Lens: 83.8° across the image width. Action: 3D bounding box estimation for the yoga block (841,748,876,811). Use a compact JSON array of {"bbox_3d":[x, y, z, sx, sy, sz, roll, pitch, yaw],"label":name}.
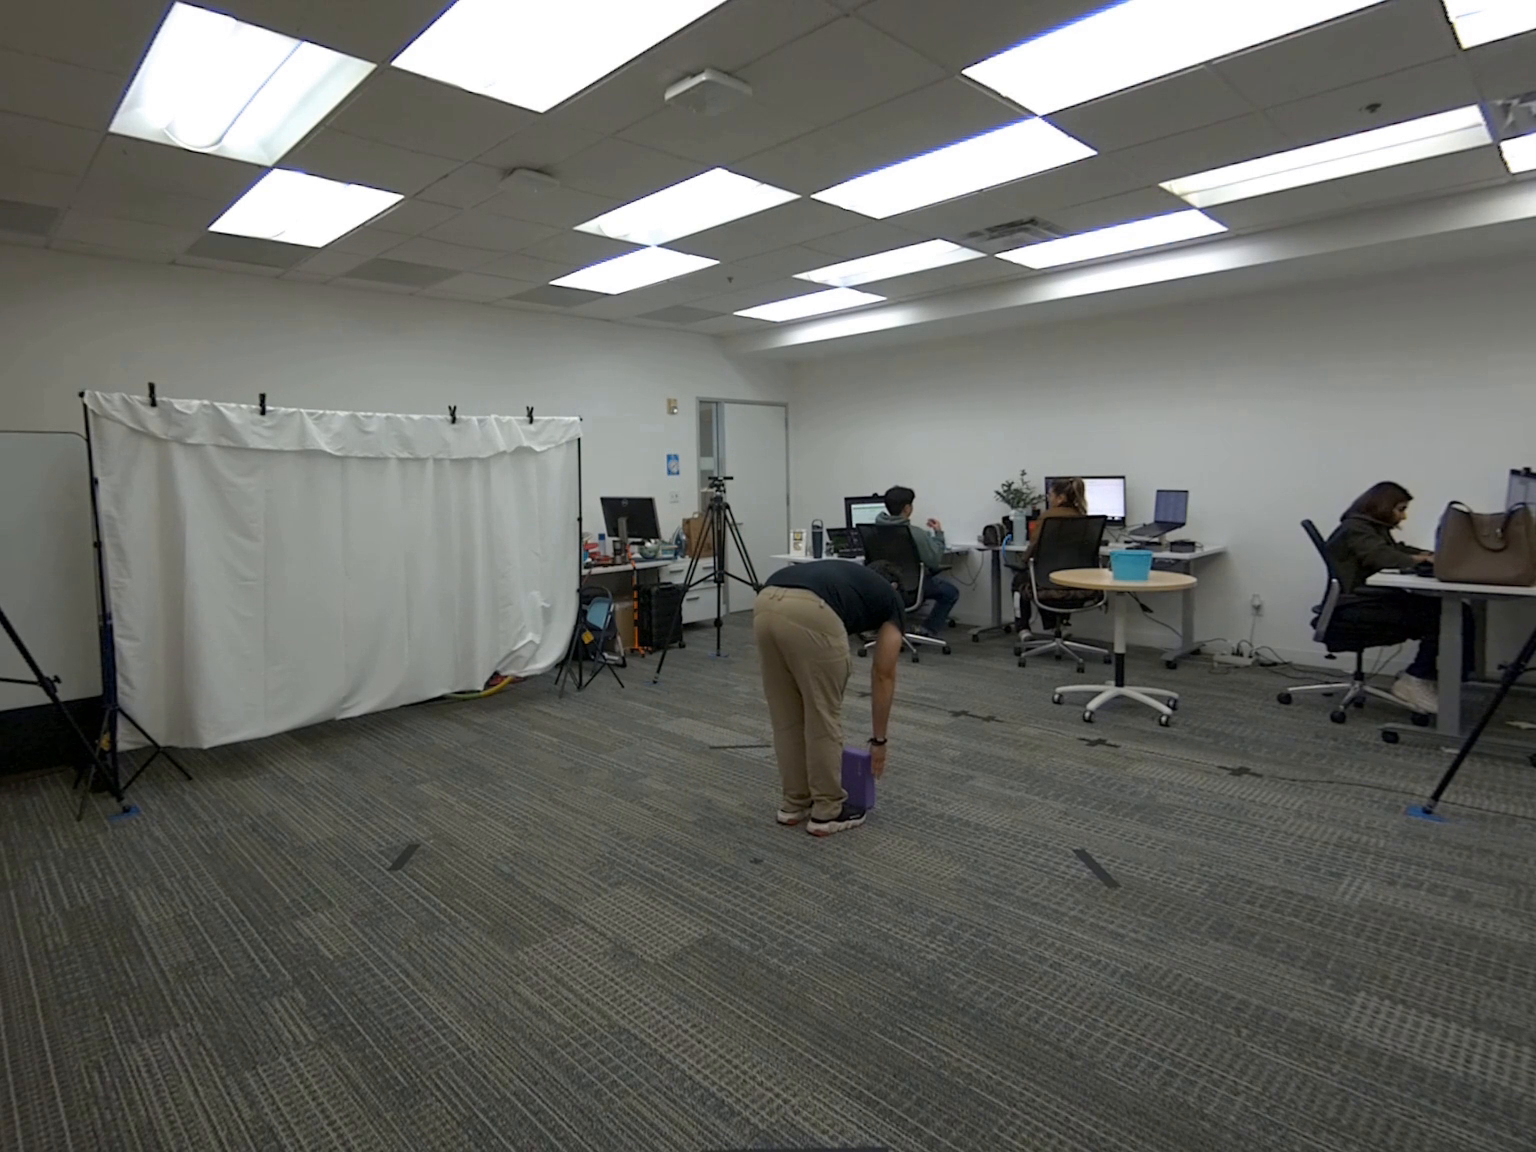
[{"bbox_3d":[0.368,0.847,3.615,0.074,0.228,0.153,-7,7,-44],"label":"yoga block"}]
